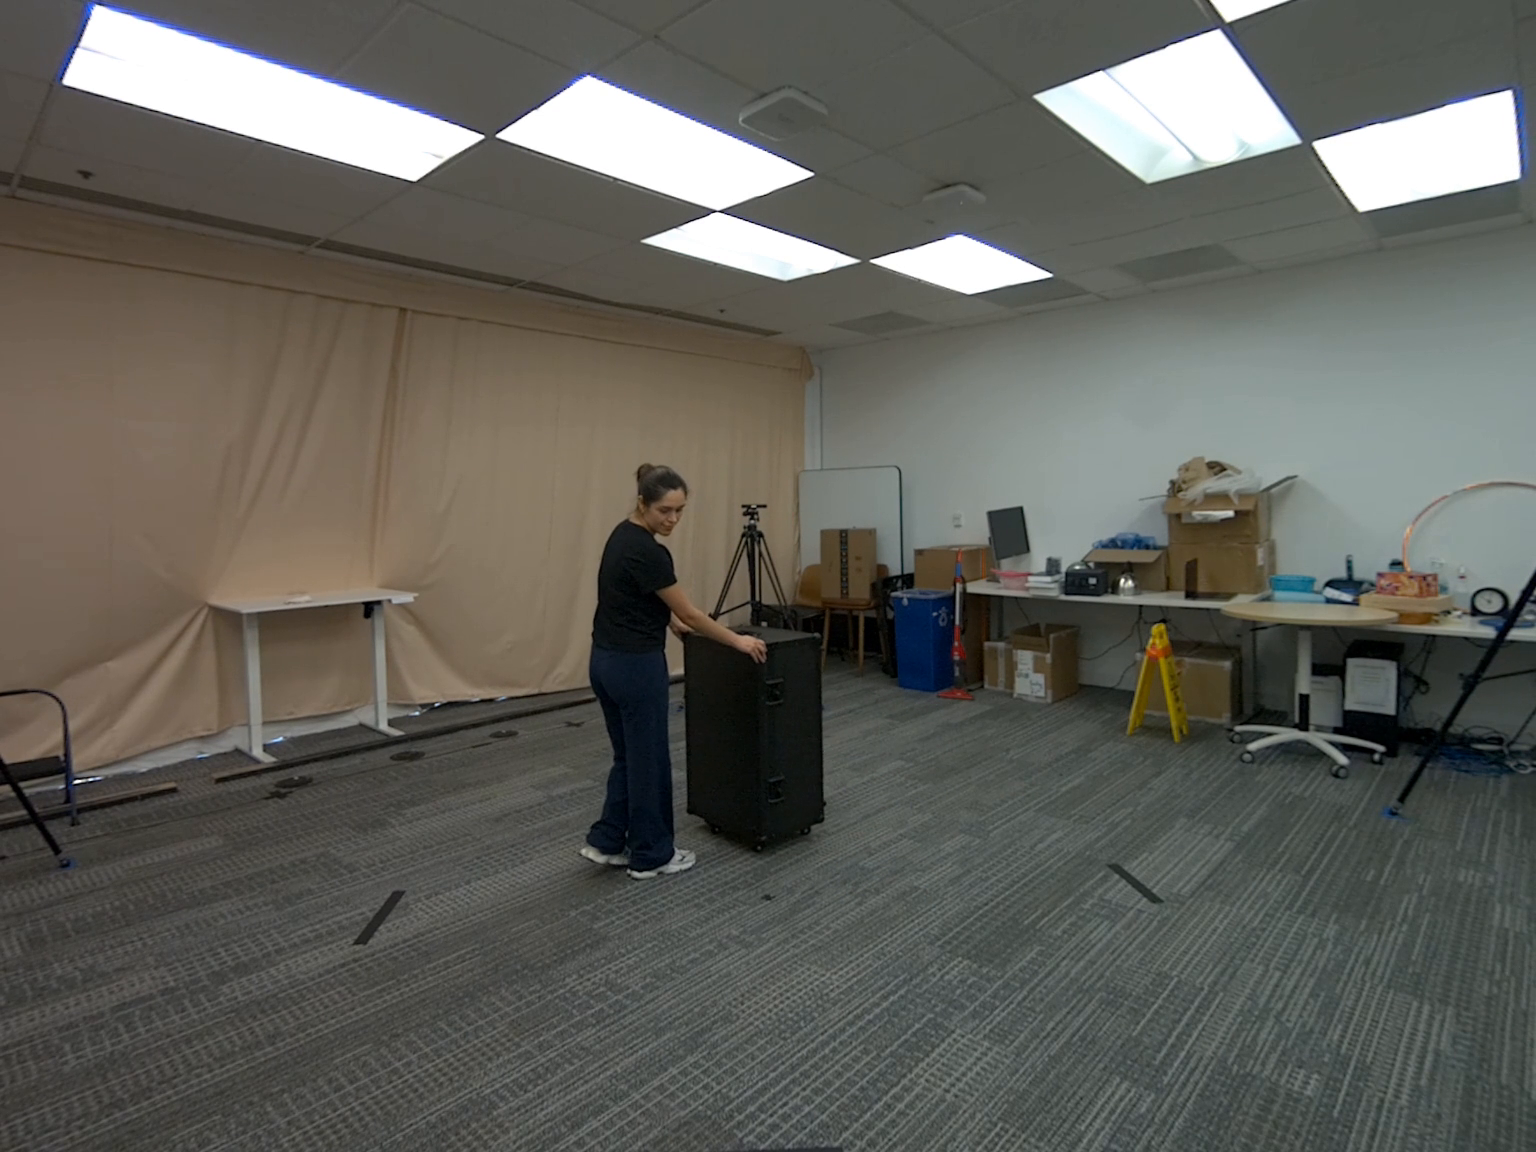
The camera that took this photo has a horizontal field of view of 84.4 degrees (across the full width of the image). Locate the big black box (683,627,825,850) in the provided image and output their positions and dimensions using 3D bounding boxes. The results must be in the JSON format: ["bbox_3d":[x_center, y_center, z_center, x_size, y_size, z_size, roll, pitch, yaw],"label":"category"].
[{"bbox_3d":[-0.048,0.664,3.566,0.384,0.860,0.538,-2,3,-41],"label":"big black box"}]
